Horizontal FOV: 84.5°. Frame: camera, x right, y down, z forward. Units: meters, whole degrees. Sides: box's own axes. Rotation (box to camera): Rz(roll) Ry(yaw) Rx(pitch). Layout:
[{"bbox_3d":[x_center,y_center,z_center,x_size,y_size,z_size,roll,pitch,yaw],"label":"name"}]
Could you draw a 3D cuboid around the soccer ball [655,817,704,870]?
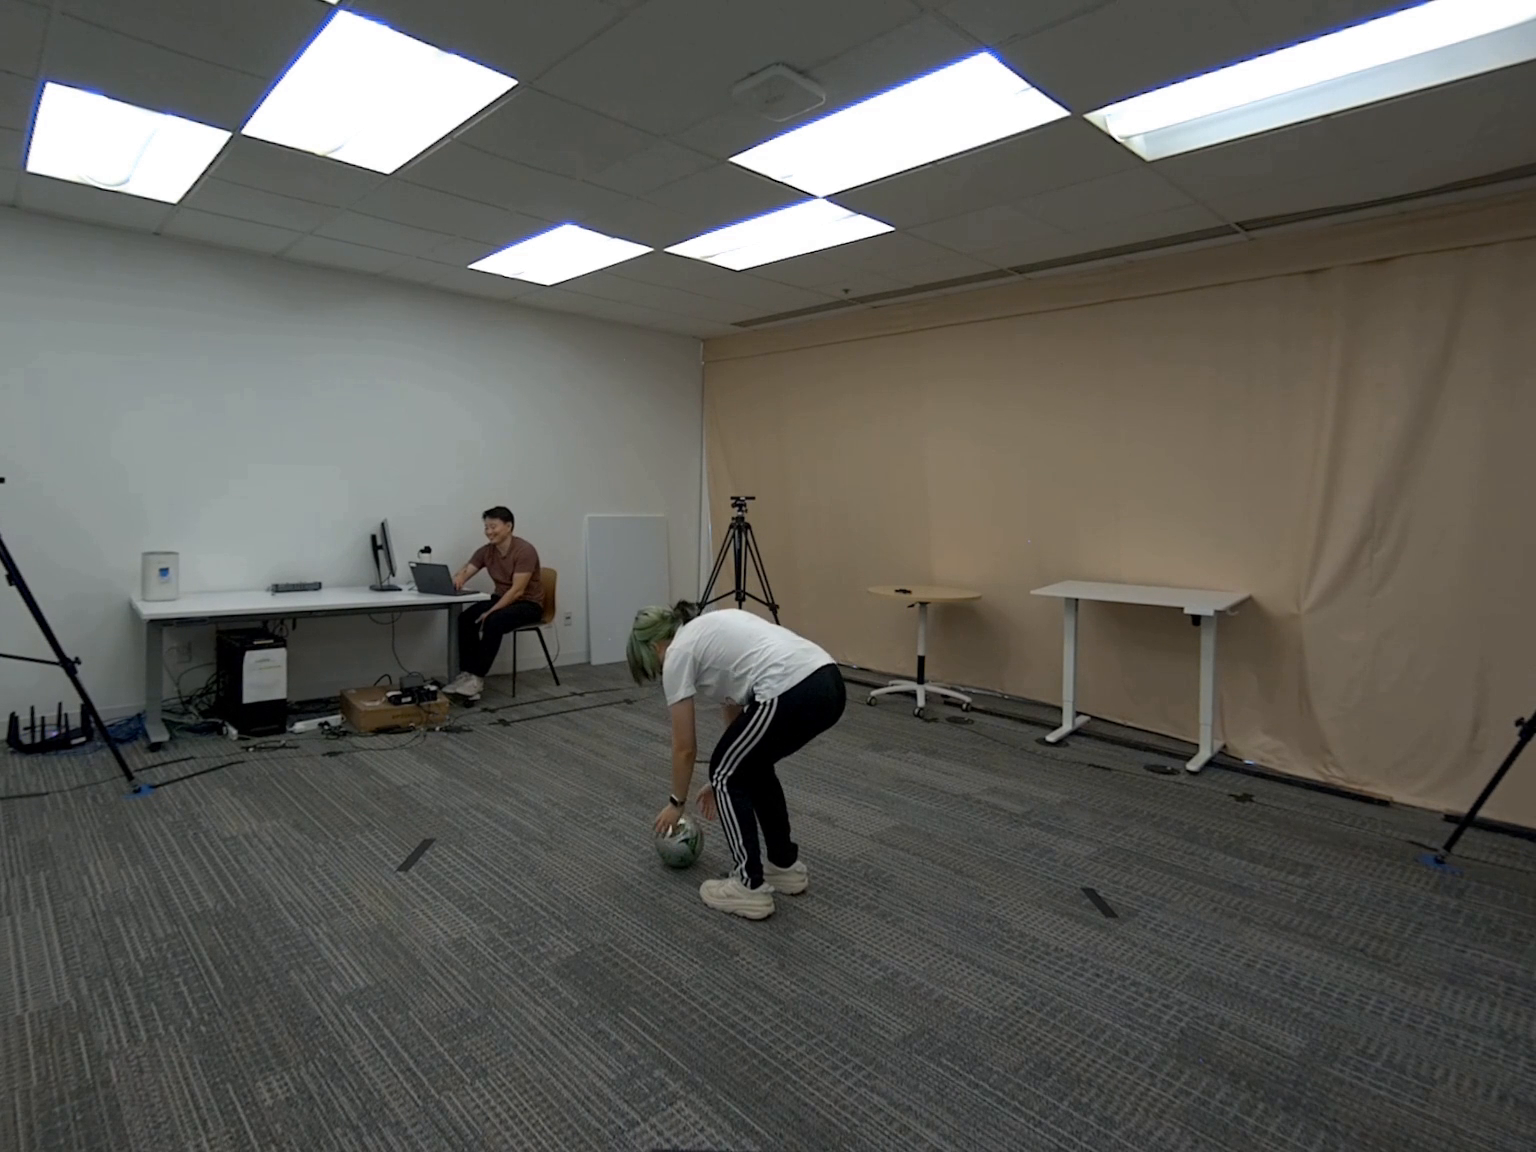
[{"bbox_3d":[-0.347,0.999,3.170,0.187,0.187,0.188,1,4,-1],"label":"soccer ball"}]
